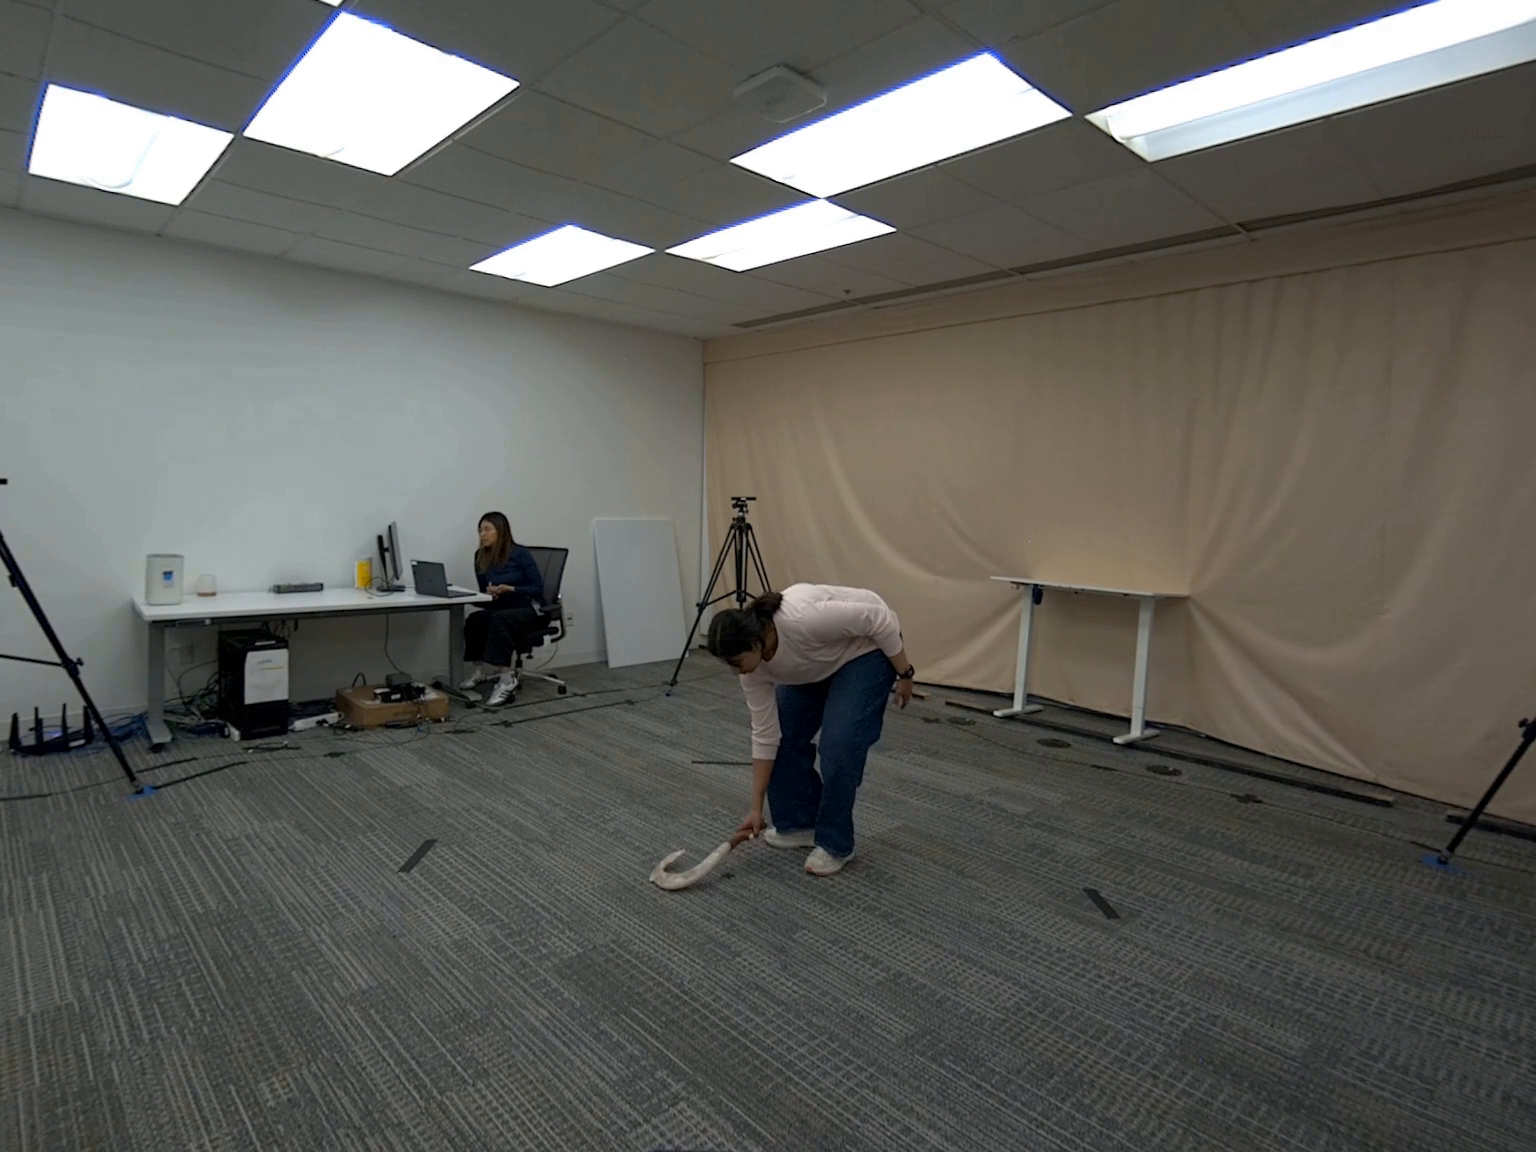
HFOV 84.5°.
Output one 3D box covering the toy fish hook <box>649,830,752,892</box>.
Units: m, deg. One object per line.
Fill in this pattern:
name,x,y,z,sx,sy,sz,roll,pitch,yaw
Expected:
toy fish hook,-0.231,1.027,3.160,0.499,0.048,0.230,-20,18,-41
